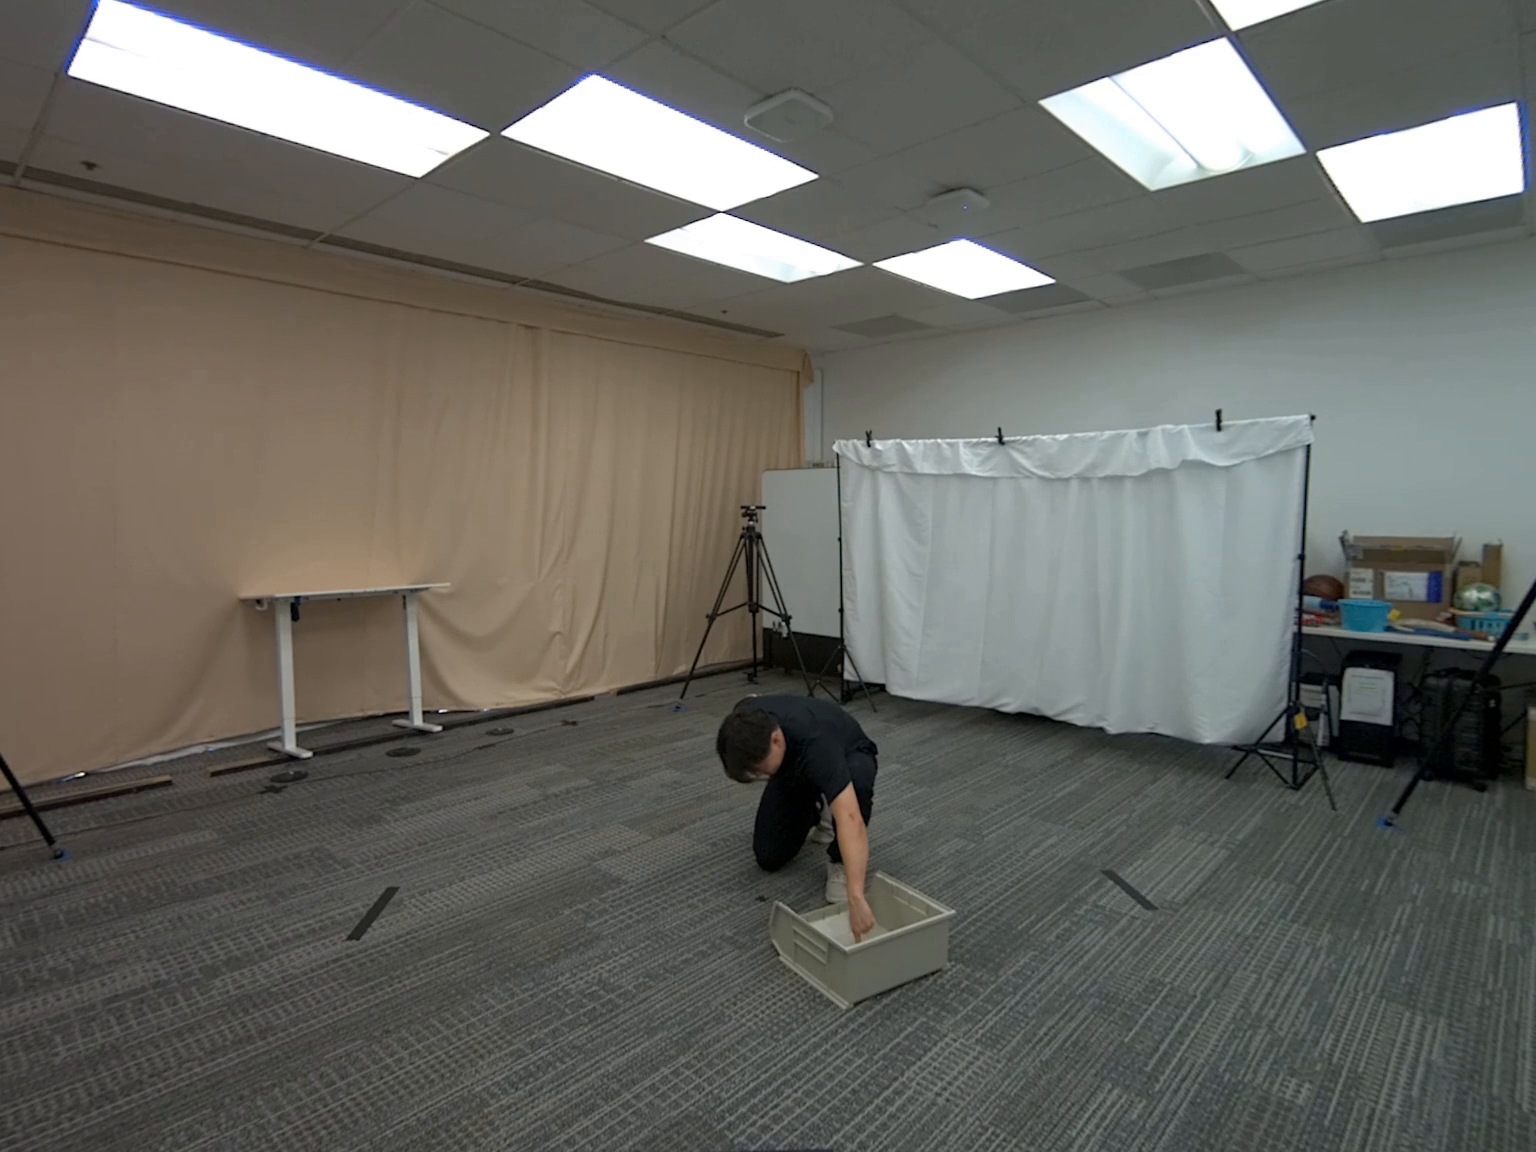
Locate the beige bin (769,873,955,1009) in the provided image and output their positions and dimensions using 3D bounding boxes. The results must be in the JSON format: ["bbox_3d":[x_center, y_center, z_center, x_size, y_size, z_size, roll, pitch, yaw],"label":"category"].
[{"bbox_3d":[0.281,1.083,2.573,0.410,0.188,0.389,-2,5,-33],"label":"beige bin"}]
